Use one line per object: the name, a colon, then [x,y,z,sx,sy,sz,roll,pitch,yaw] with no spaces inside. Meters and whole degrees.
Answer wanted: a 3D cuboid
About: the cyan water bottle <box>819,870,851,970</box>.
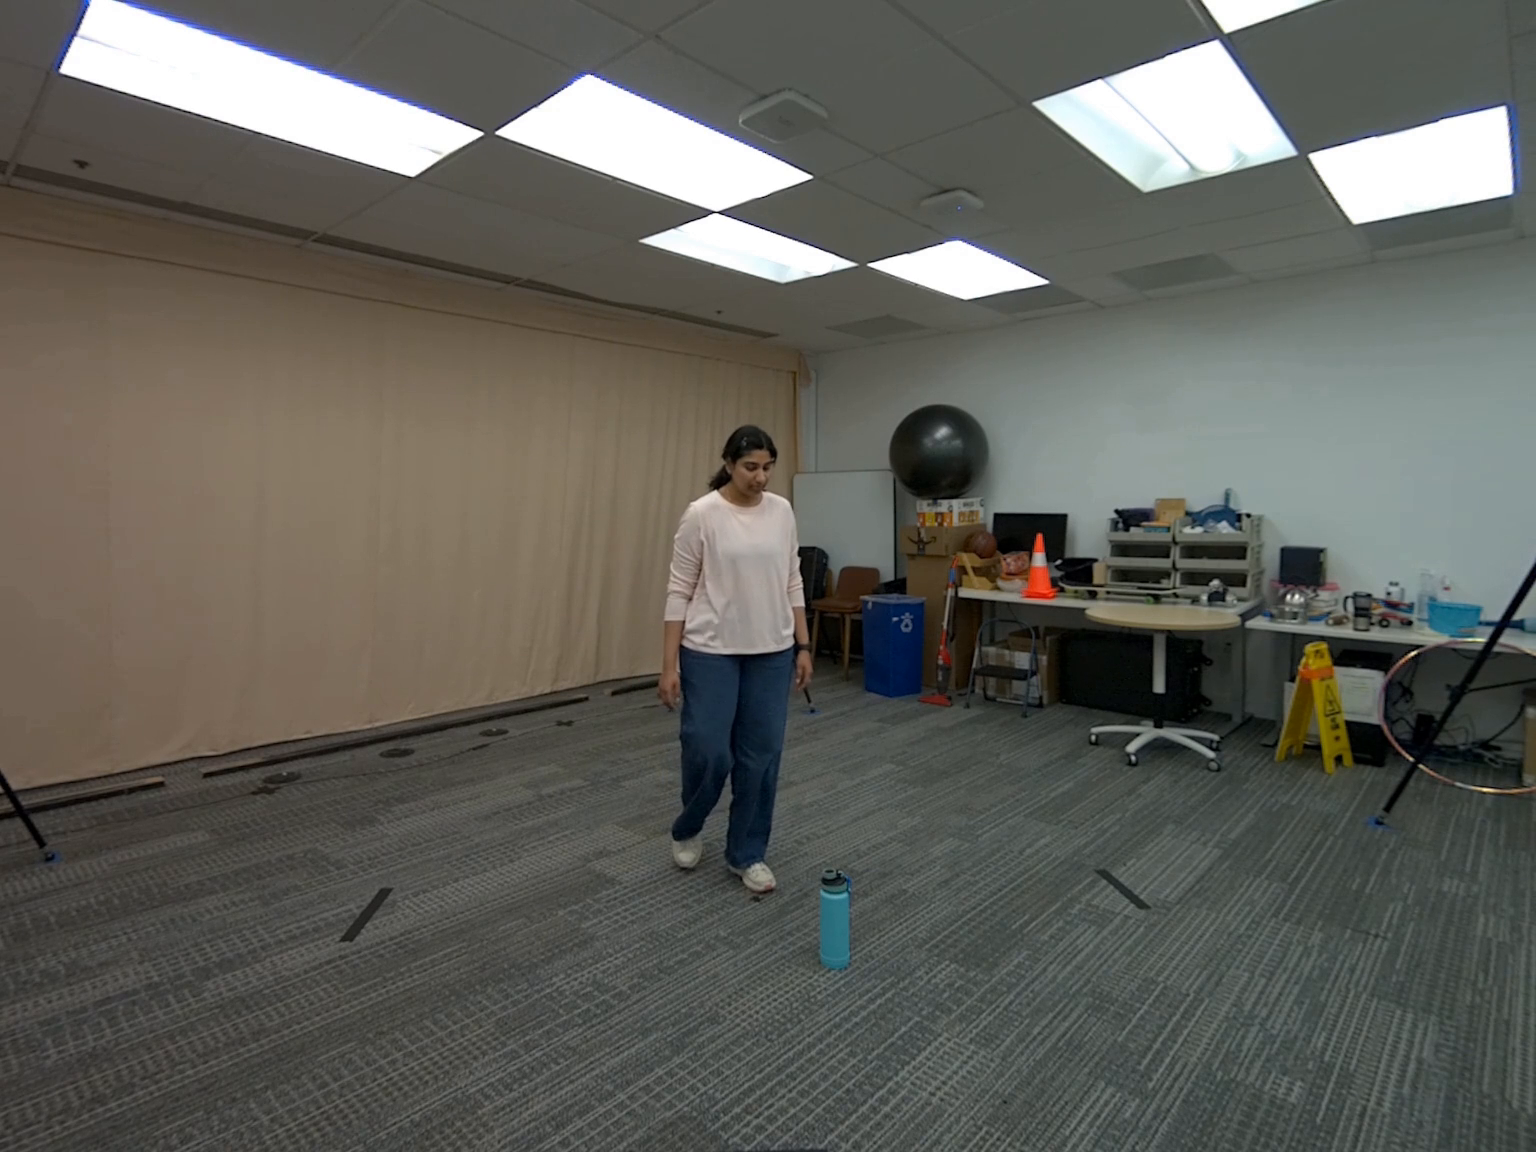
cyan water bottle: [0.211,1.041,2.561,0.092,0.283,0.092,2,2,-2]
